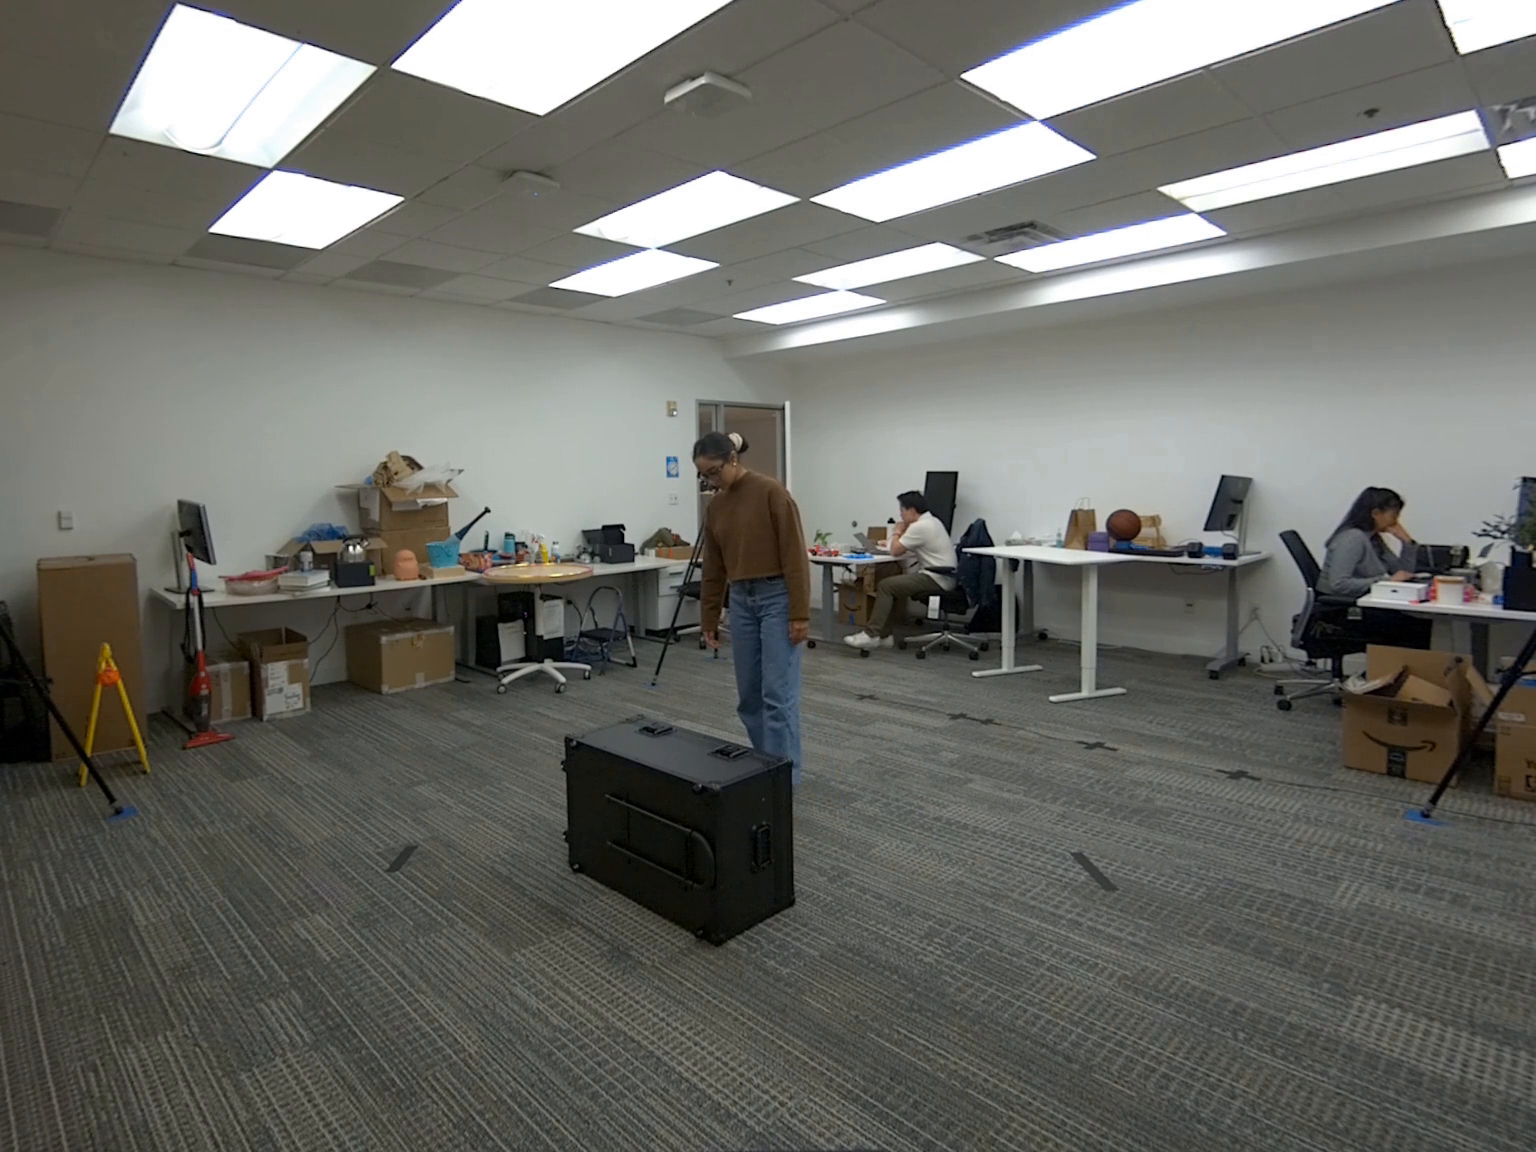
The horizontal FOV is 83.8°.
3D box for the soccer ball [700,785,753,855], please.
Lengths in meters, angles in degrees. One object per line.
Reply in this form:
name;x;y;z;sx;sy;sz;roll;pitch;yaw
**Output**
soccer ball;-0.161;0.924;3.262;0.187;0.187;0.188;-1;5;-2
